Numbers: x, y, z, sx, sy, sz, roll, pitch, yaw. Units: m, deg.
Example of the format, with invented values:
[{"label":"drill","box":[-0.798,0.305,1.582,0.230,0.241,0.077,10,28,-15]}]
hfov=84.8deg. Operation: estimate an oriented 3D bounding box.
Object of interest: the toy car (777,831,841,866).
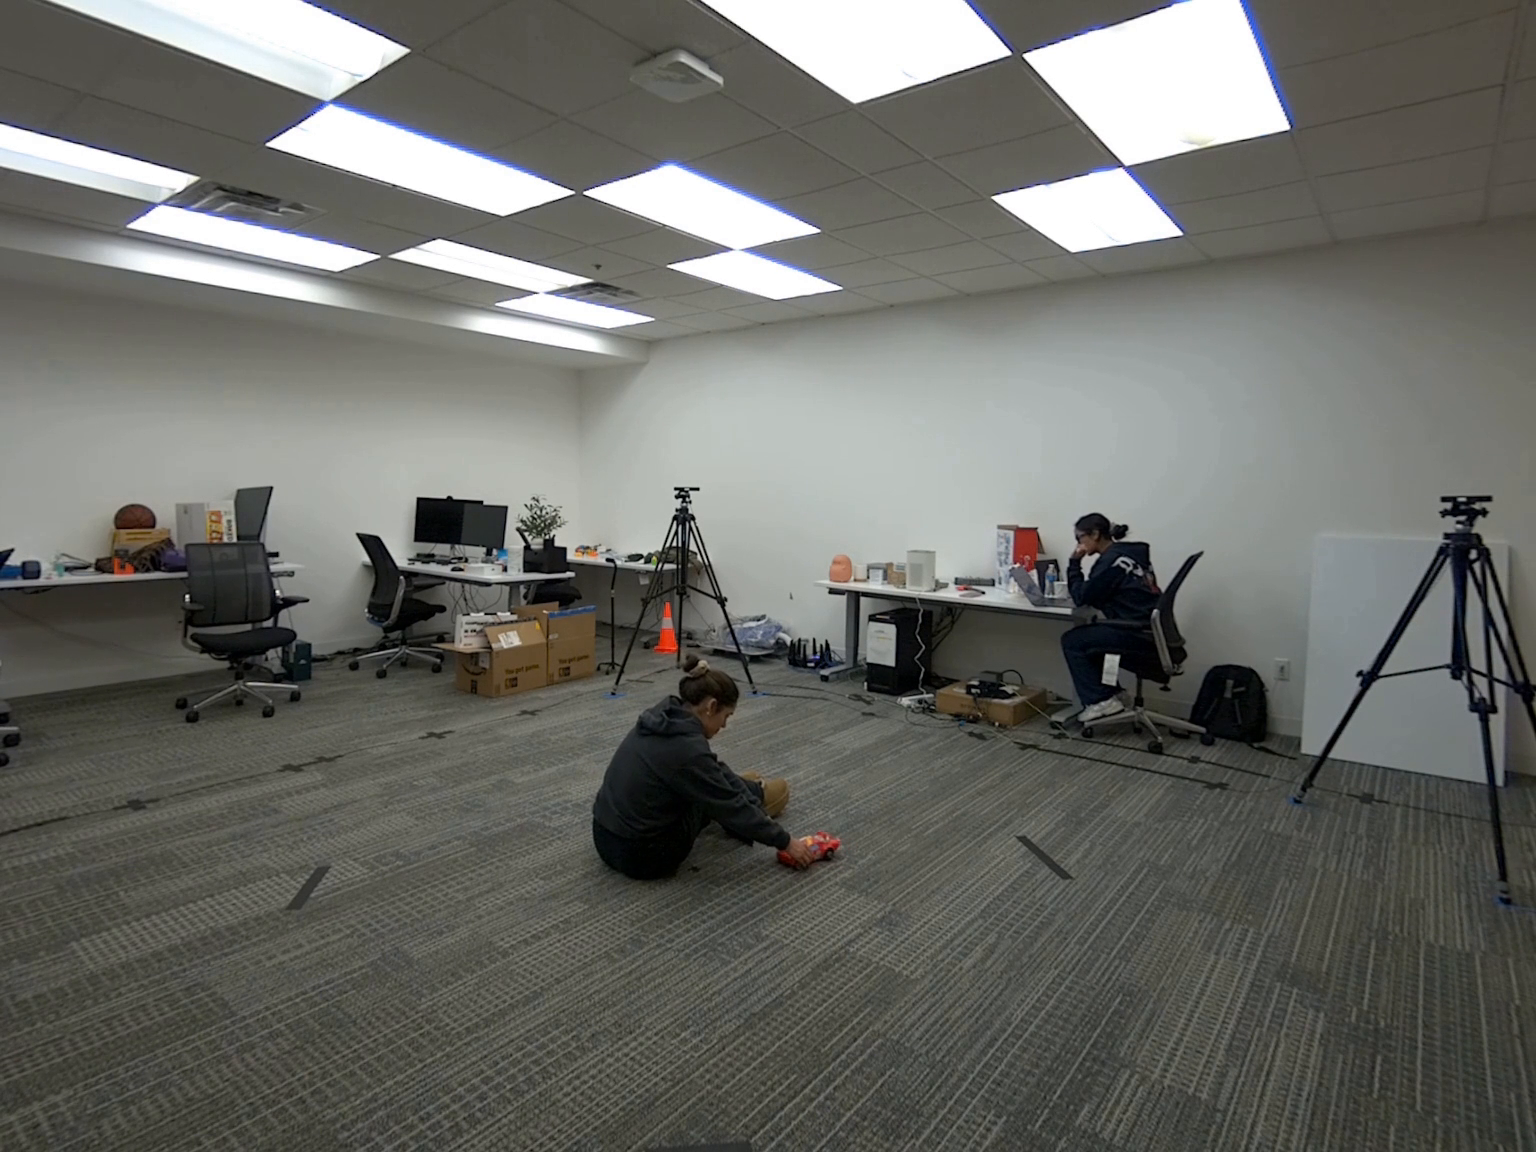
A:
[{"label":"toy car","box":[0.165,1.032,3.208,0.250,0.082,0.134,-19,16,-32]}]
